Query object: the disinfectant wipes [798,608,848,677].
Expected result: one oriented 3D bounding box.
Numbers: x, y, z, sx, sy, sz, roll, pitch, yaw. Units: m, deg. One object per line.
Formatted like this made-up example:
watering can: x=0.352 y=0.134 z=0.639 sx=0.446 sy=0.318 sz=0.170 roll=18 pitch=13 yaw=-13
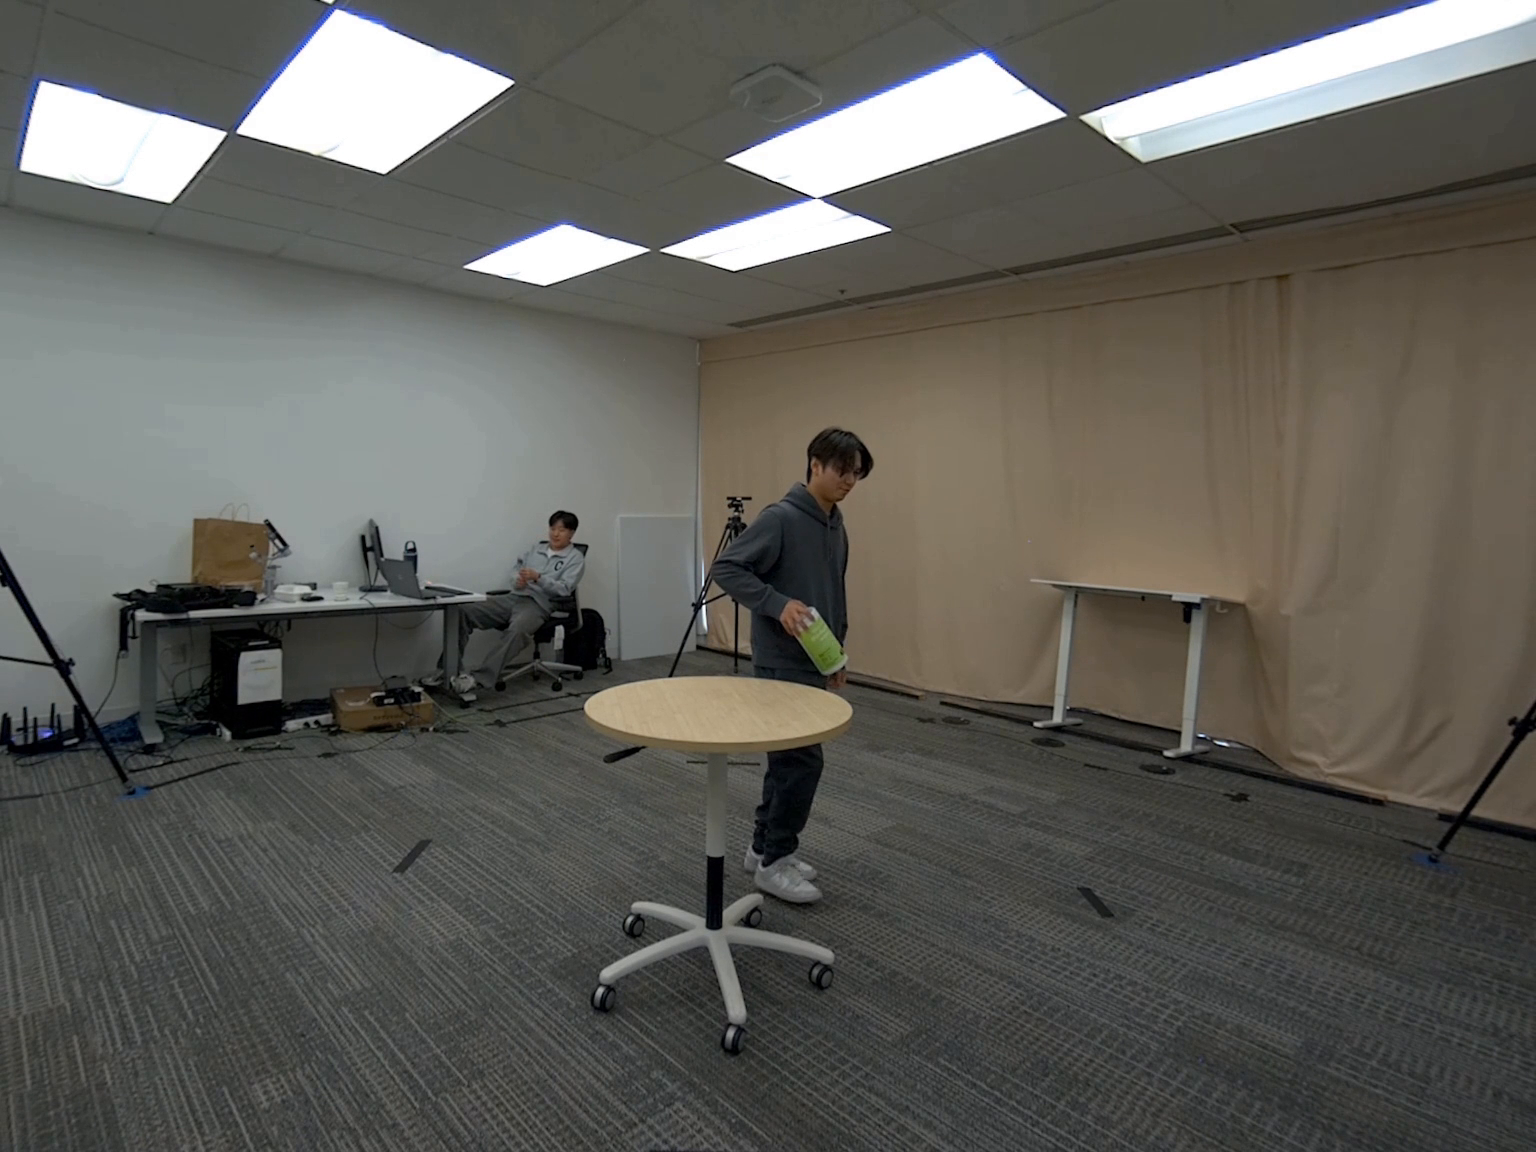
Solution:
disinfectant wipes: x=0.159 y=0.224 z=2.832 sx=0.118 sy=0.215 sz=0.119 roll=-29 pitch=10 yaw=5
